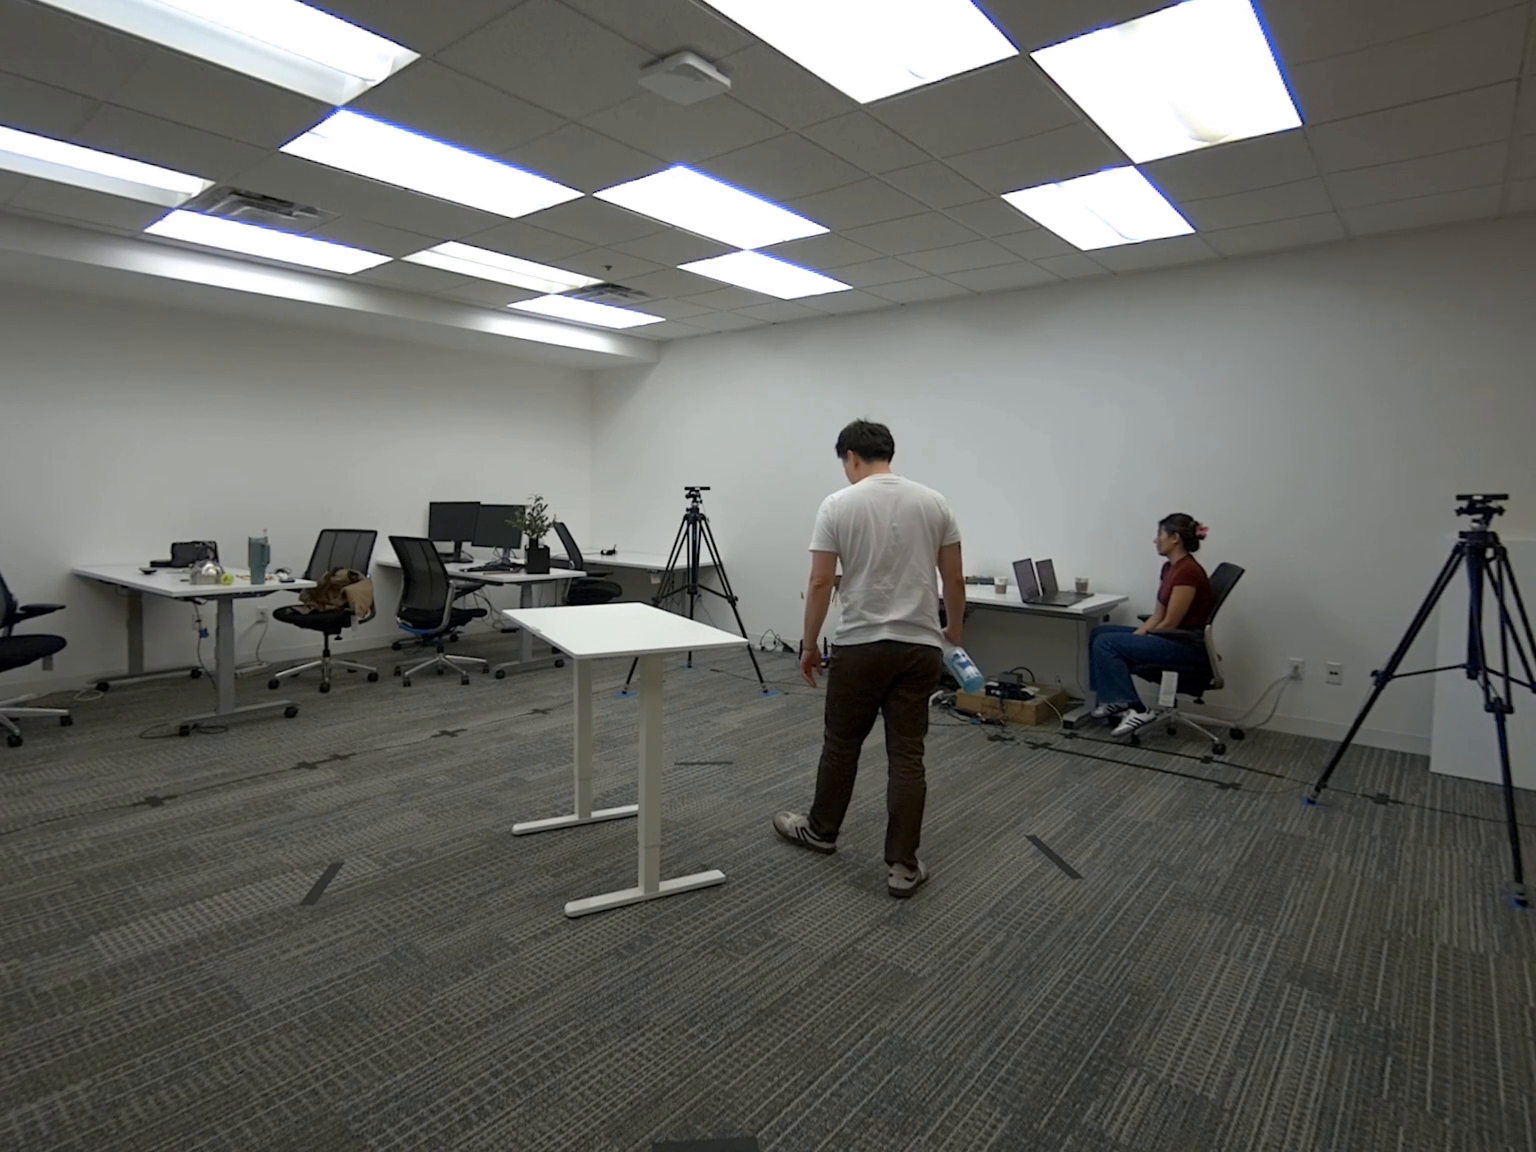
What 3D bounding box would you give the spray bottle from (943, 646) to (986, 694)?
[{"bbox_3d":[0.692,0.301,3.177,0.087,0.086,0.310,4,38,-31],"label":"spray bottle"}]
